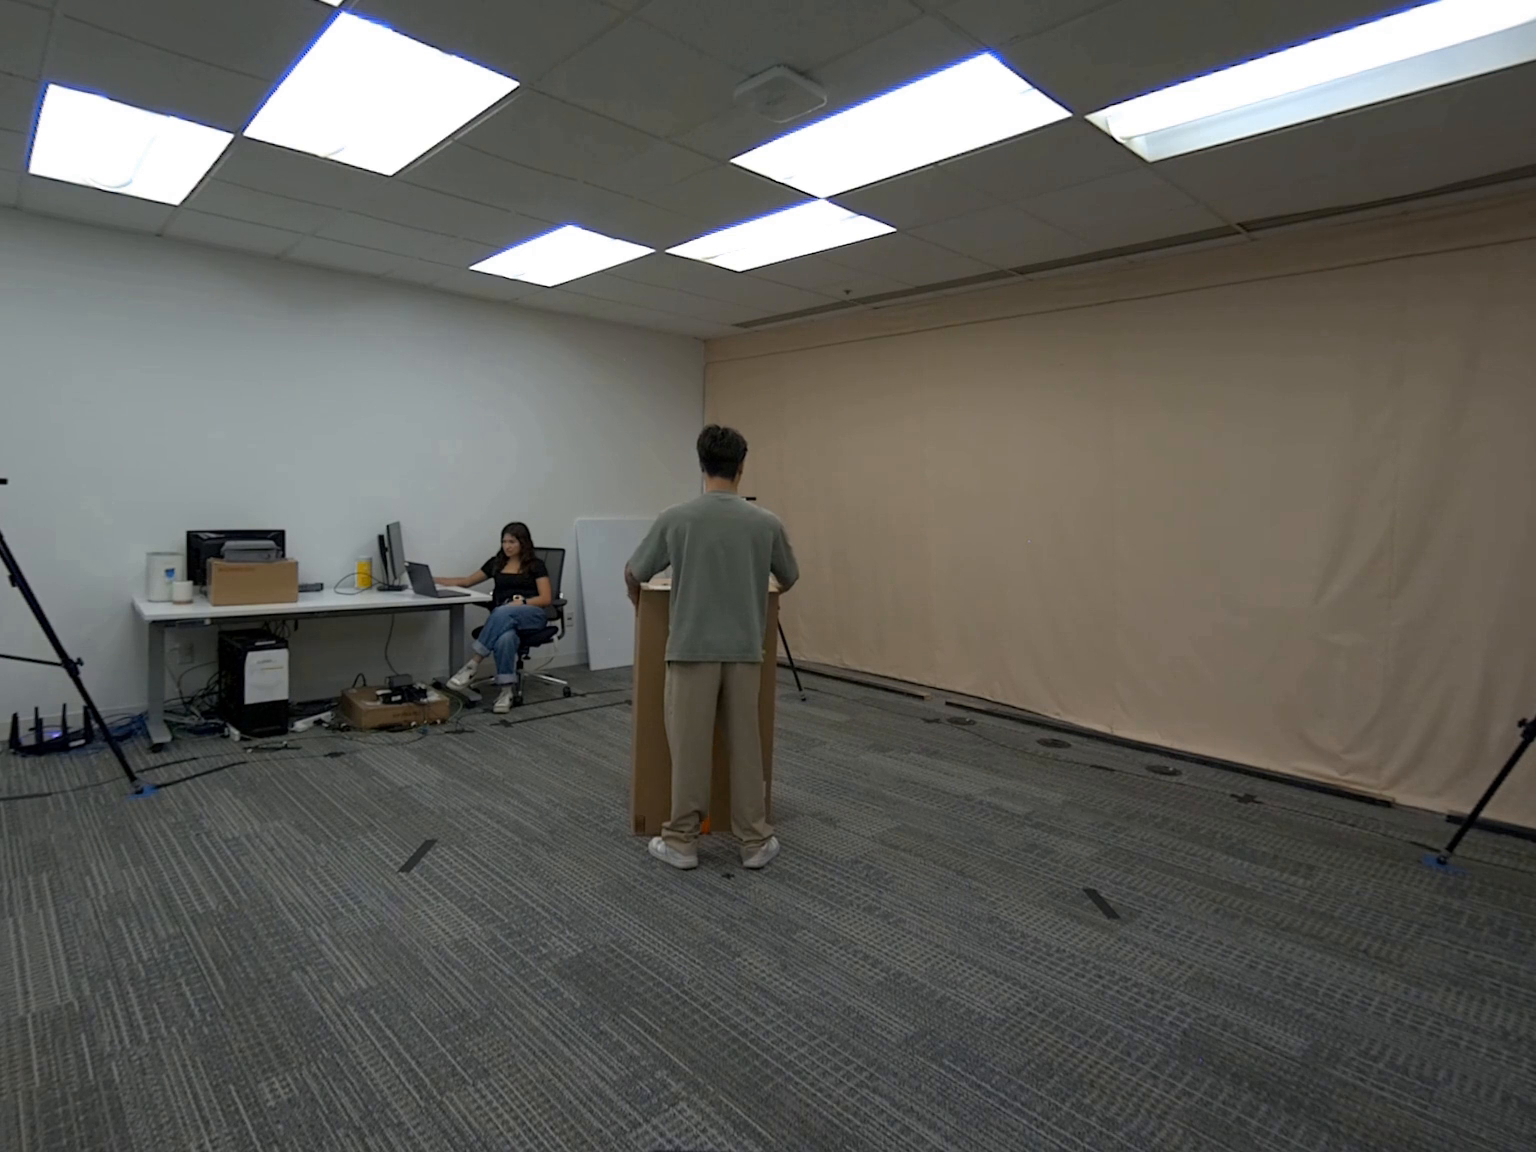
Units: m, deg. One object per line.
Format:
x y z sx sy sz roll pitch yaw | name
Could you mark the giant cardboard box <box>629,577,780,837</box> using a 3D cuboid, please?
-0.292 0.537 3.663 0.574 1.022 0.430 1 5 -8 | giant cardboard box
